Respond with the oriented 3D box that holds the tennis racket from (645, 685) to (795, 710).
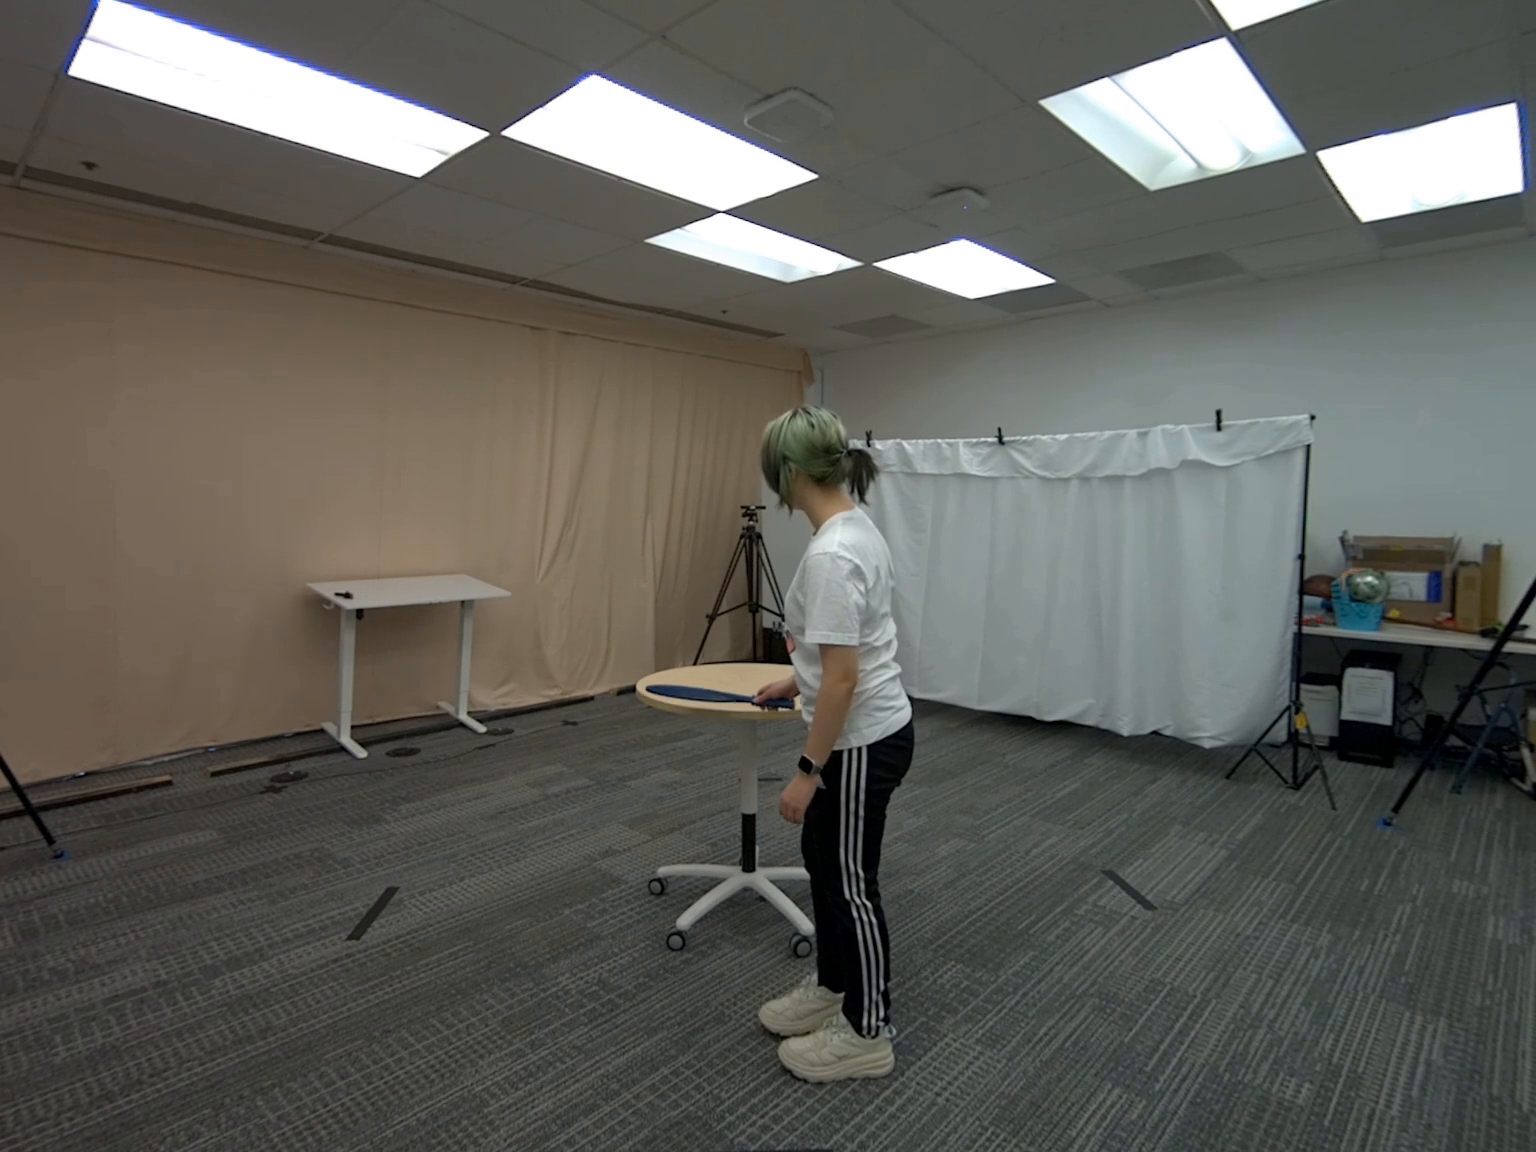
[{"bbox_3d":[-0.139,0.347,2.374,0.441,0.032,0.208,3,-18,18],"label":"tennis racket"}]
